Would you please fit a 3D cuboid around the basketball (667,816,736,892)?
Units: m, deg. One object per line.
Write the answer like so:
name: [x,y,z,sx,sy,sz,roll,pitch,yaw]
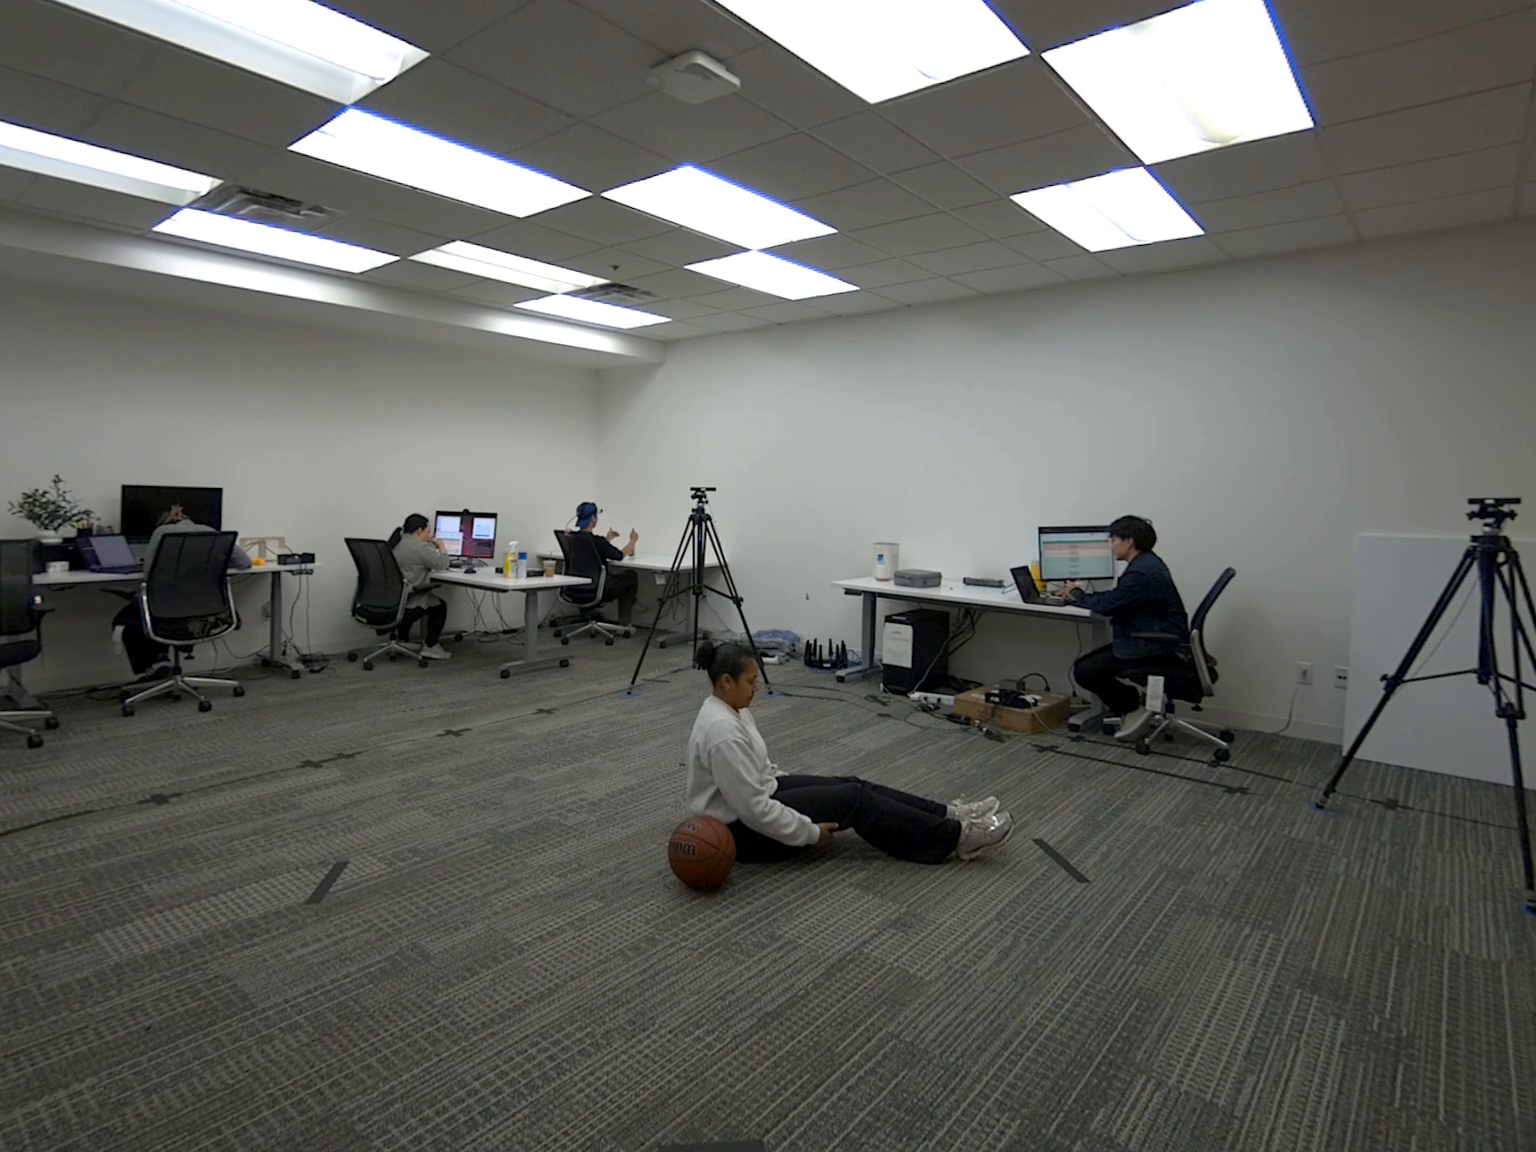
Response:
basketball: [-0.240,0.954,2.975,0.235,0.235,0.237,1,4,-2]
